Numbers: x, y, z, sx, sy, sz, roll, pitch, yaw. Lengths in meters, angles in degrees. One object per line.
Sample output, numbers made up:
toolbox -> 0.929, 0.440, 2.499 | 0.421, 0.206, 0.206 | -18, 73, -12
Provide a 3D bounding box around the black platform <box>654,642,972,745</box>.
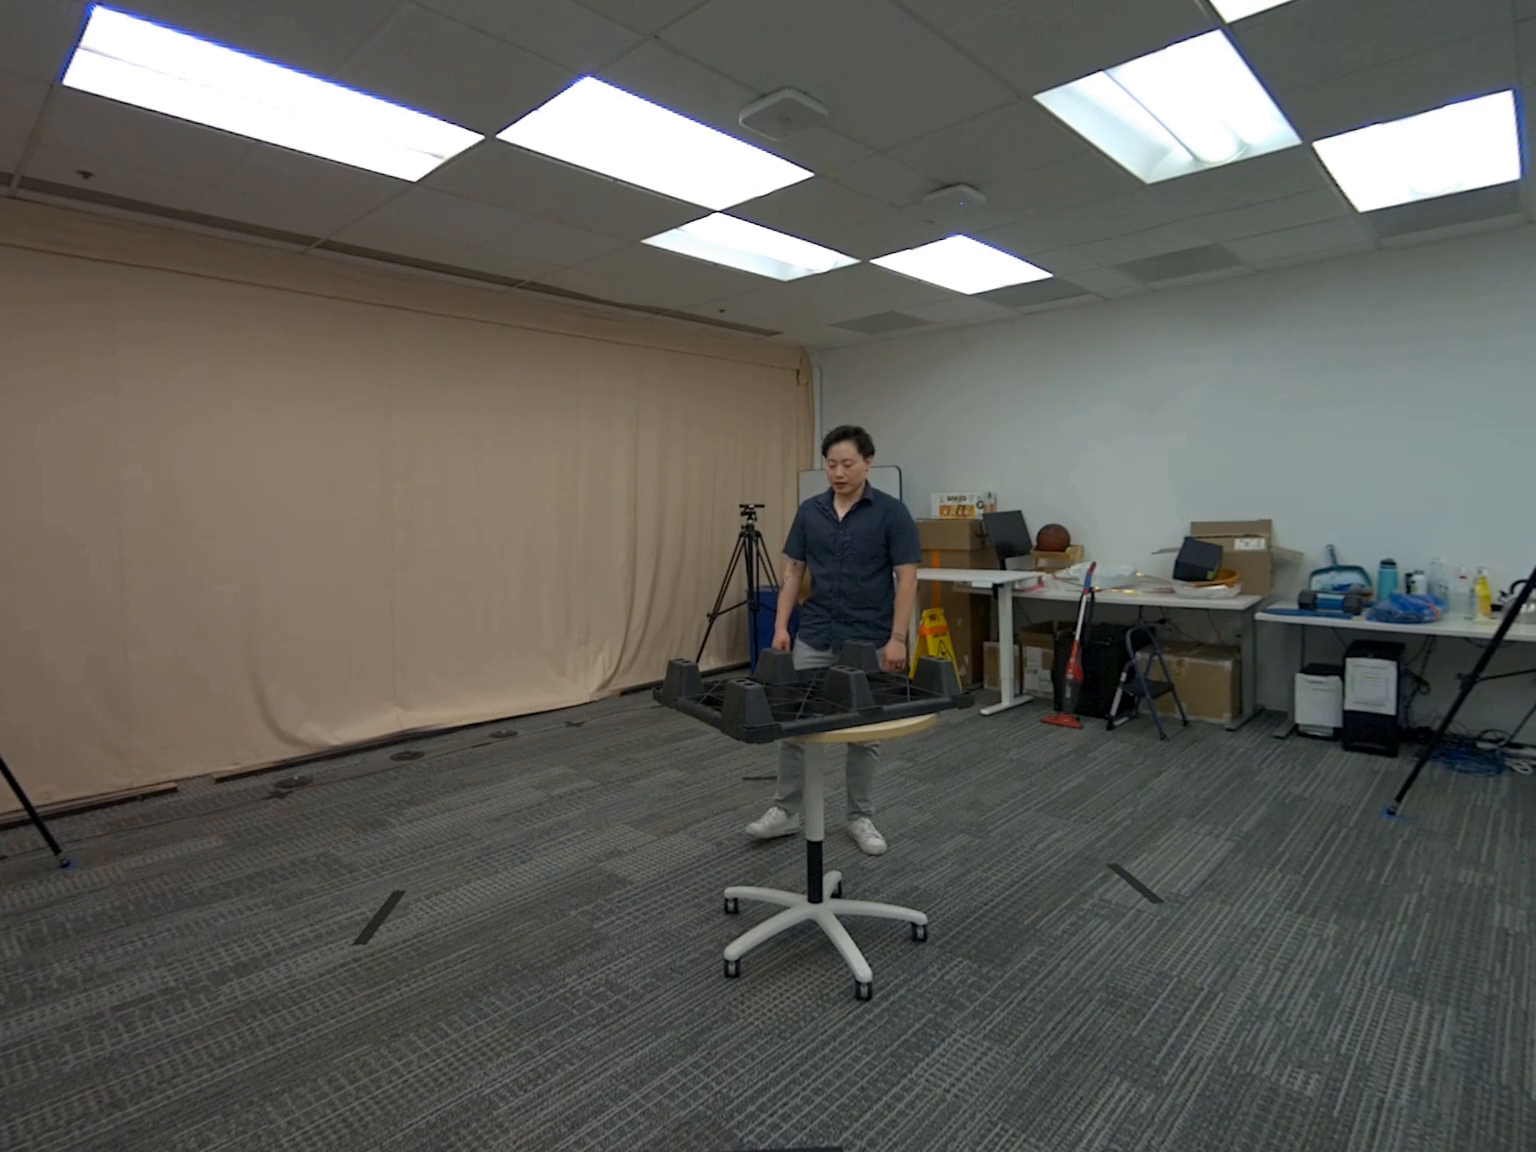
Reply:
black platform -> 0.128, 0.327, 2.570 | 0.784, 0.143, 0.623 | -3, 5, -31
